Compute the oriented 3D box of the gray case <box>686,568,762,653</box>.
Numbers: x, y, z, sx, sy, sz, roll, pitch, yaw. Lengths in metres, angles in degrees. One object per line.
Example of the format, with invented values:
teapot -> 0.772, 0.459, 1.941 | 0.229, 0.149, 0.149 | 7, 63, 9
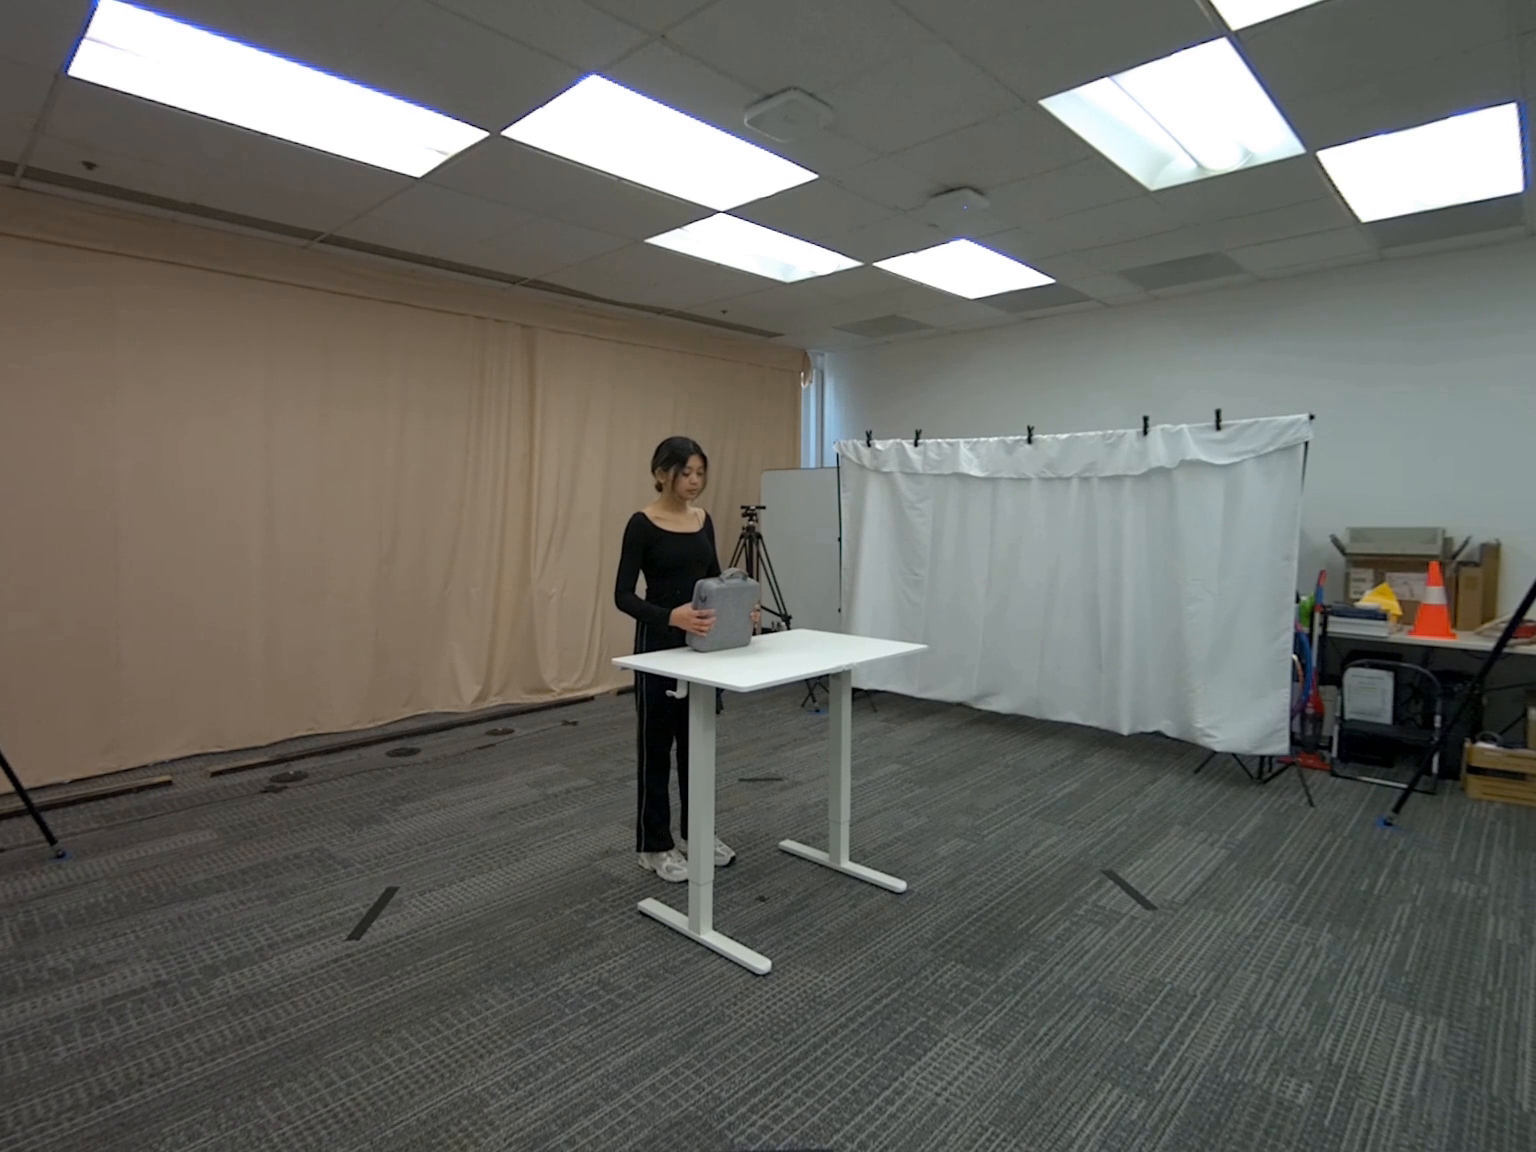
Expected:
gray case -> -0.156, 0.129, 2.985 | 0.249, 0.259, 0.108 | -3, 18, -40
